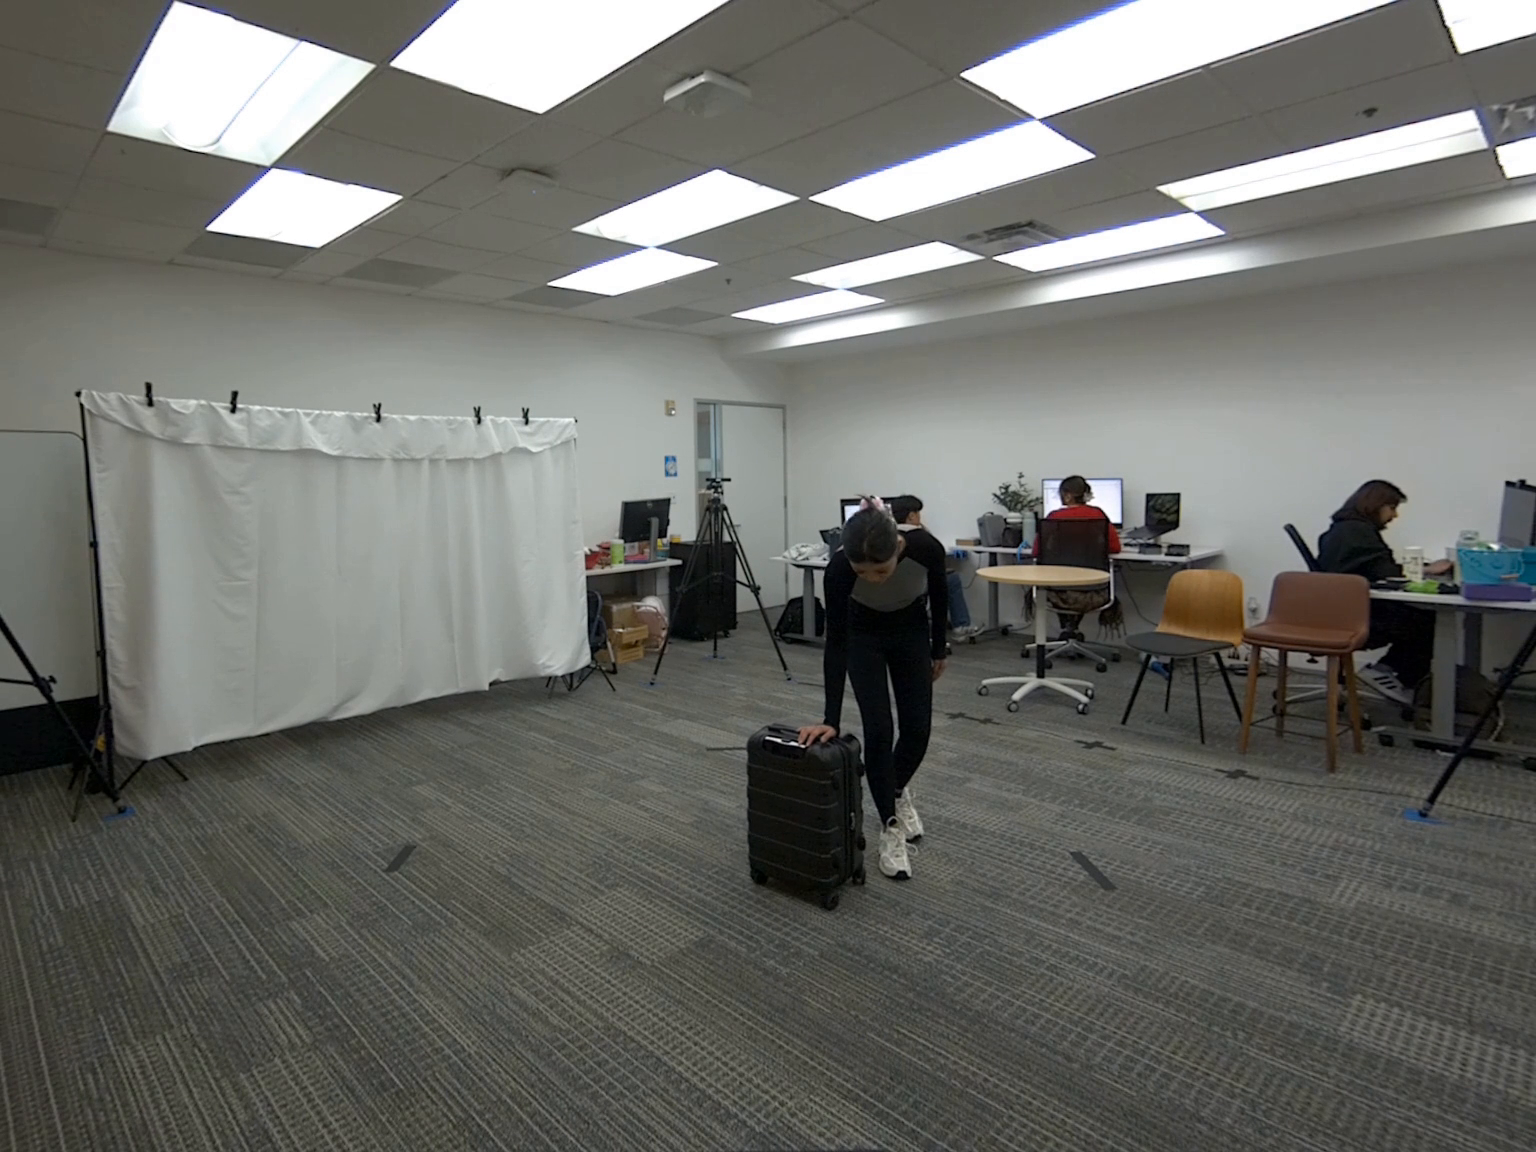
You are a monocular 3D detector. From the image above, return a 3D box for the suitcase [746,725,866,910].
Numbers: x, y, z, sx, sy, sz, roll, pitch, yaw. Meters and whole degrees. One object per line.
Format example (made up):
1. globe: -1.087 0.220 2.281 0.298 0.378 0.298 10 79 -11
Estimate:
1. suitcase: 0.128 0.784 2.915 0.386 0.547 0.242 2 7 38
